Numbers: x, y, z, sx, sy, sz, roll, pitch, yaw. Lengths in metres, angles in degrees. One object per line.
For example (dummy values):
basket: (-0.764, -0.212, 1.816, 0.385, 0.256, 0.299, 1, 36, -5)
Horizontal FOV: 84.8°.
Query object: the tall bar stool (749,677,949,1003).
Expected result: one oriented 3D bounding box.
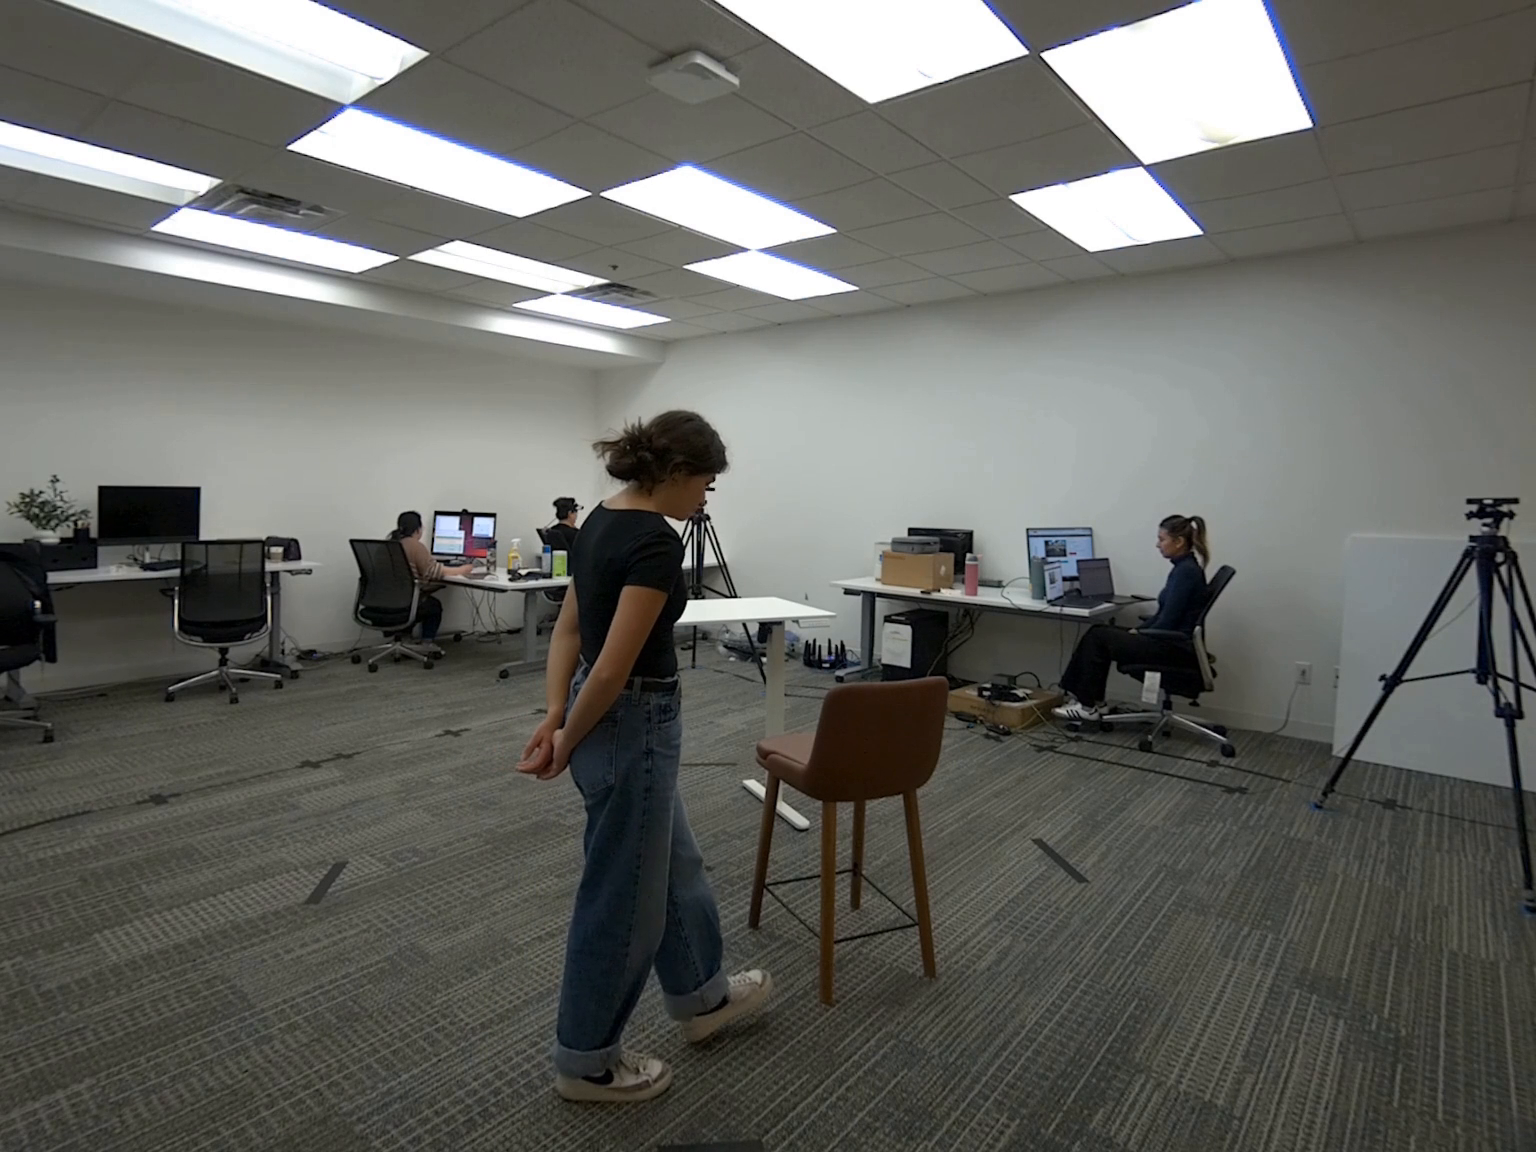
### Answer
tall bar stool: (0.226, 0.697, 2.554, 0.446, 0.886, 0.481, 0, 5, -25)
